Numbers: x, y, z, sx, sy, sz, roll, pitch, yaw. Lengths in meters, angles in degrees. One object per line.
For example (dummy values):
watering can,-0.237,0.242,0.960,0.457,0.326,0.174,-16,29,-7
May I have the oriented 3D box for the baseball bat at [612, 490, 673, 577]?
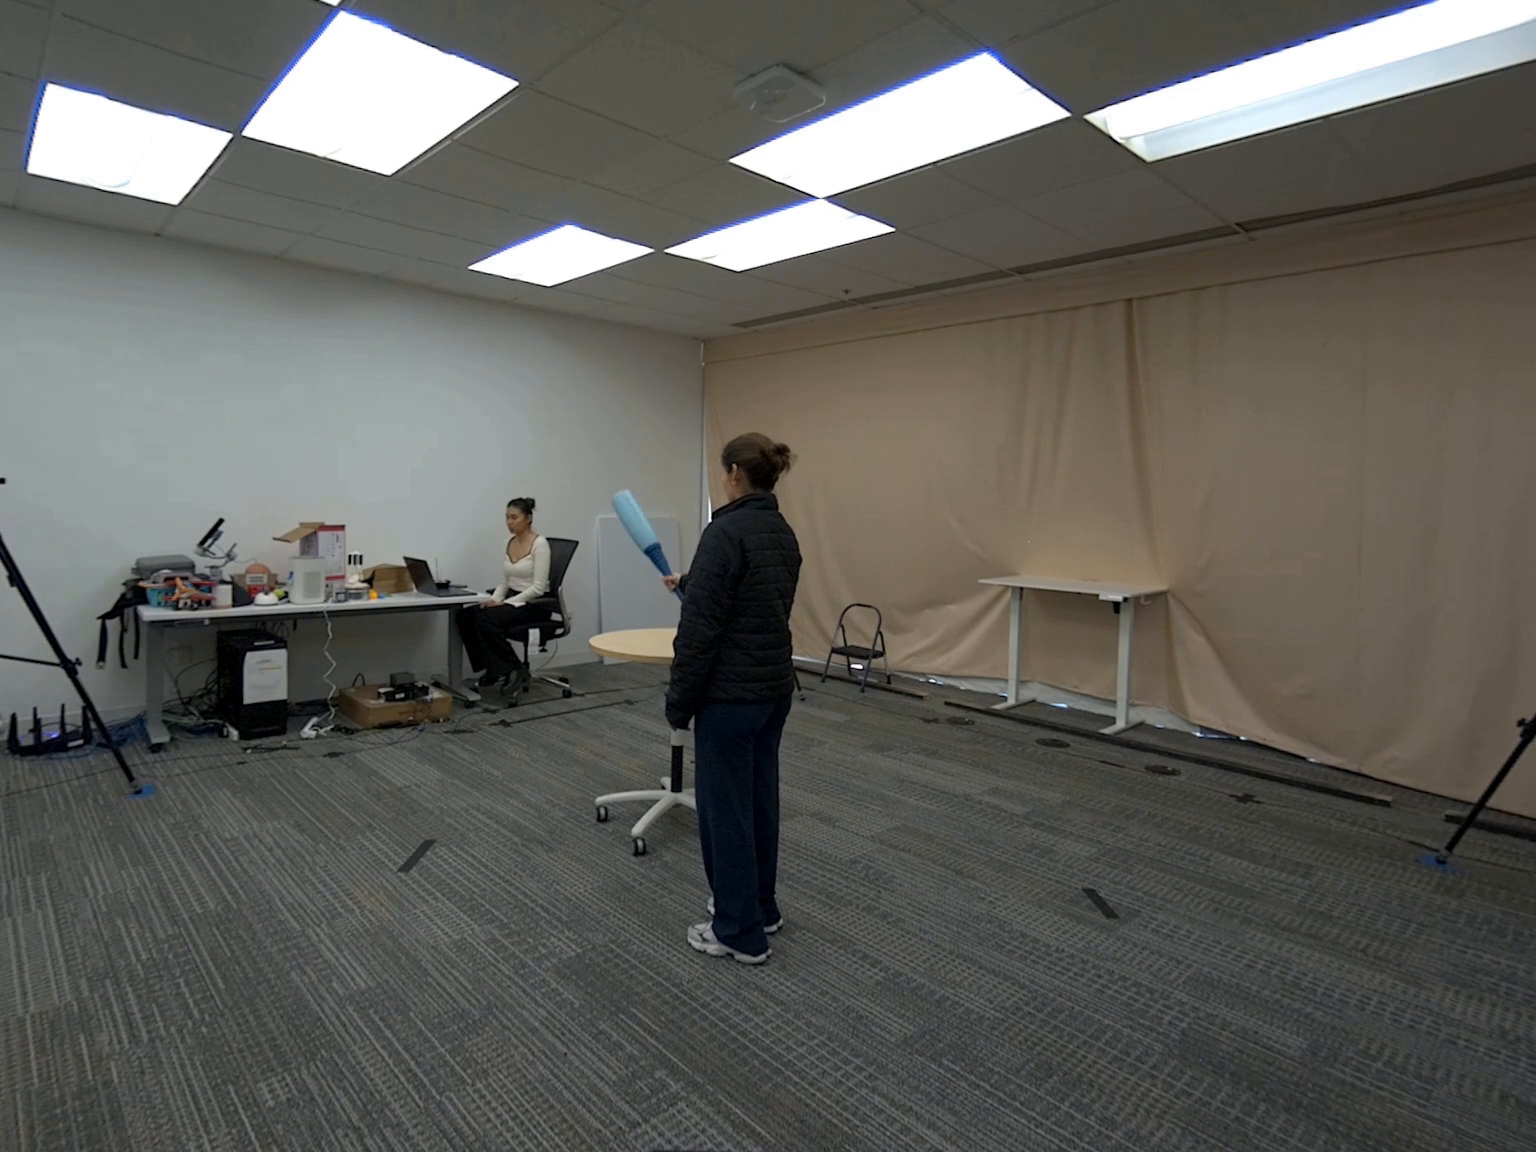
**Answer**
baseball bat,-0.406,-0.072,3.005,0.088,0.555,0.087,-28,-22,-13
